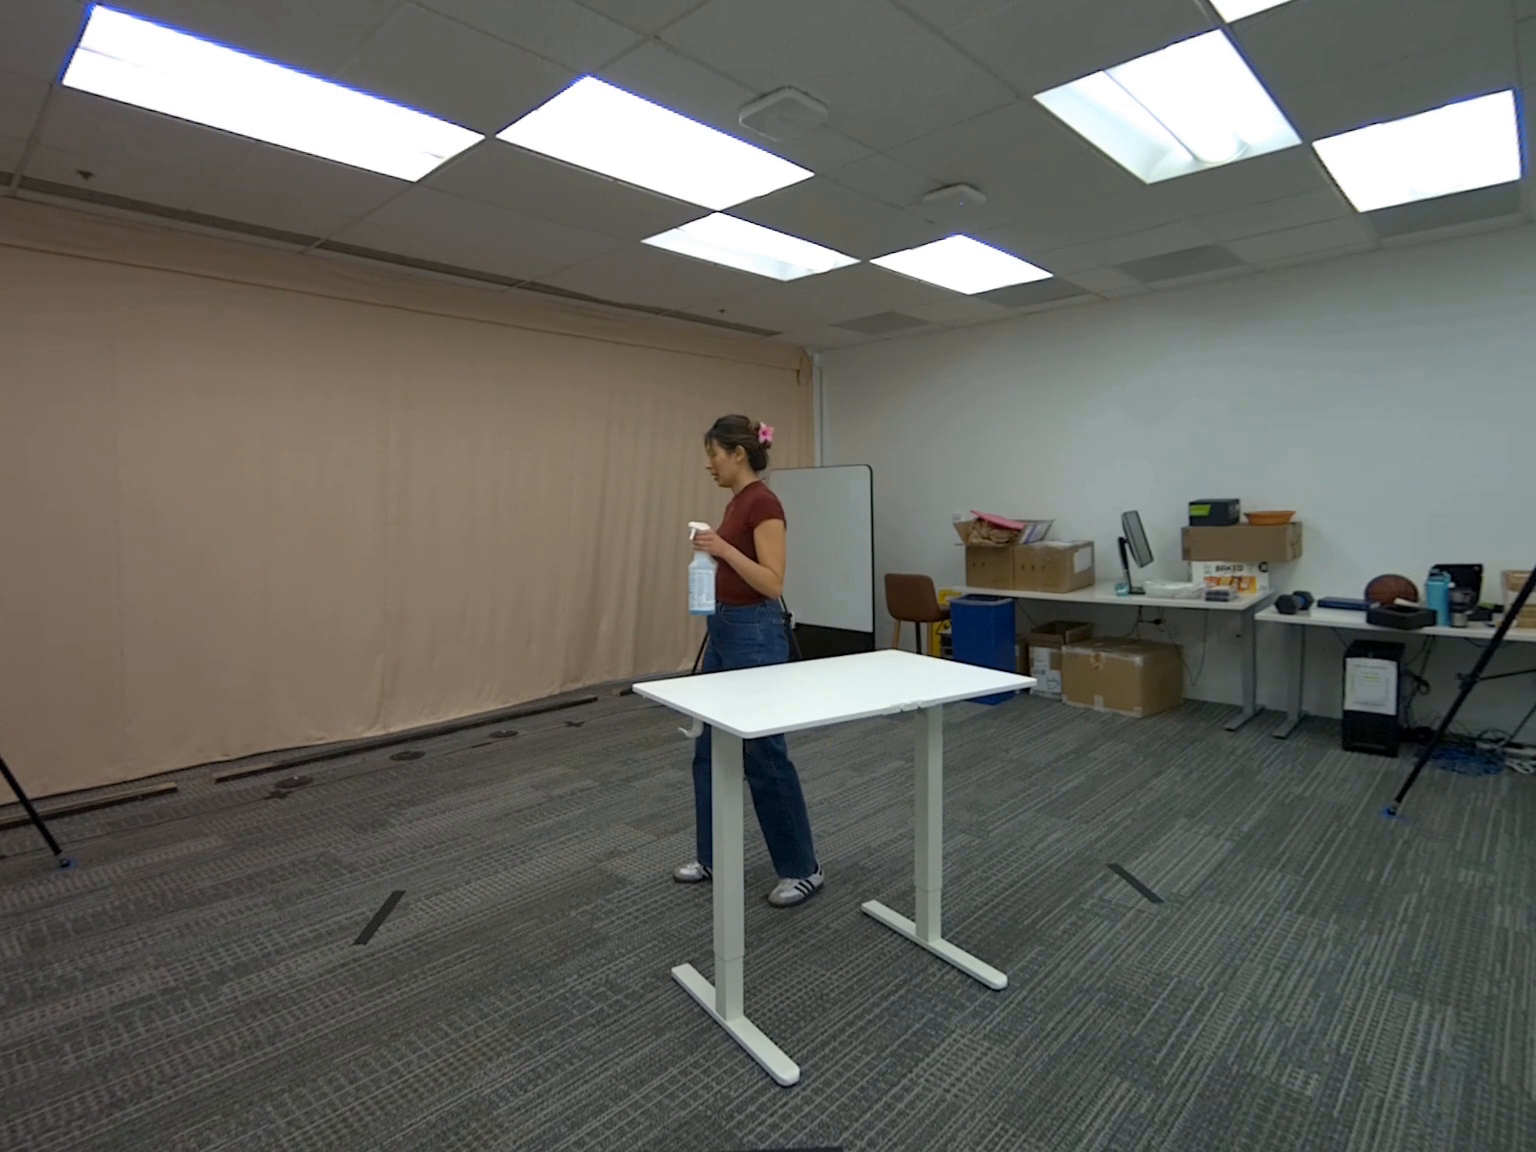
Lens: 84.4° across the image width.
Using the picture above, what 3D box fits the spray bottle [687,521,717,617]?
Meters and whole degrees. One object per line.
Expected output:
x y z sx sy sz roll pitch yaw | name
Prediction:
-0.218 -0.020 2.724 0.088 0.298 0.088 0 -2 -18 | spray bottle
